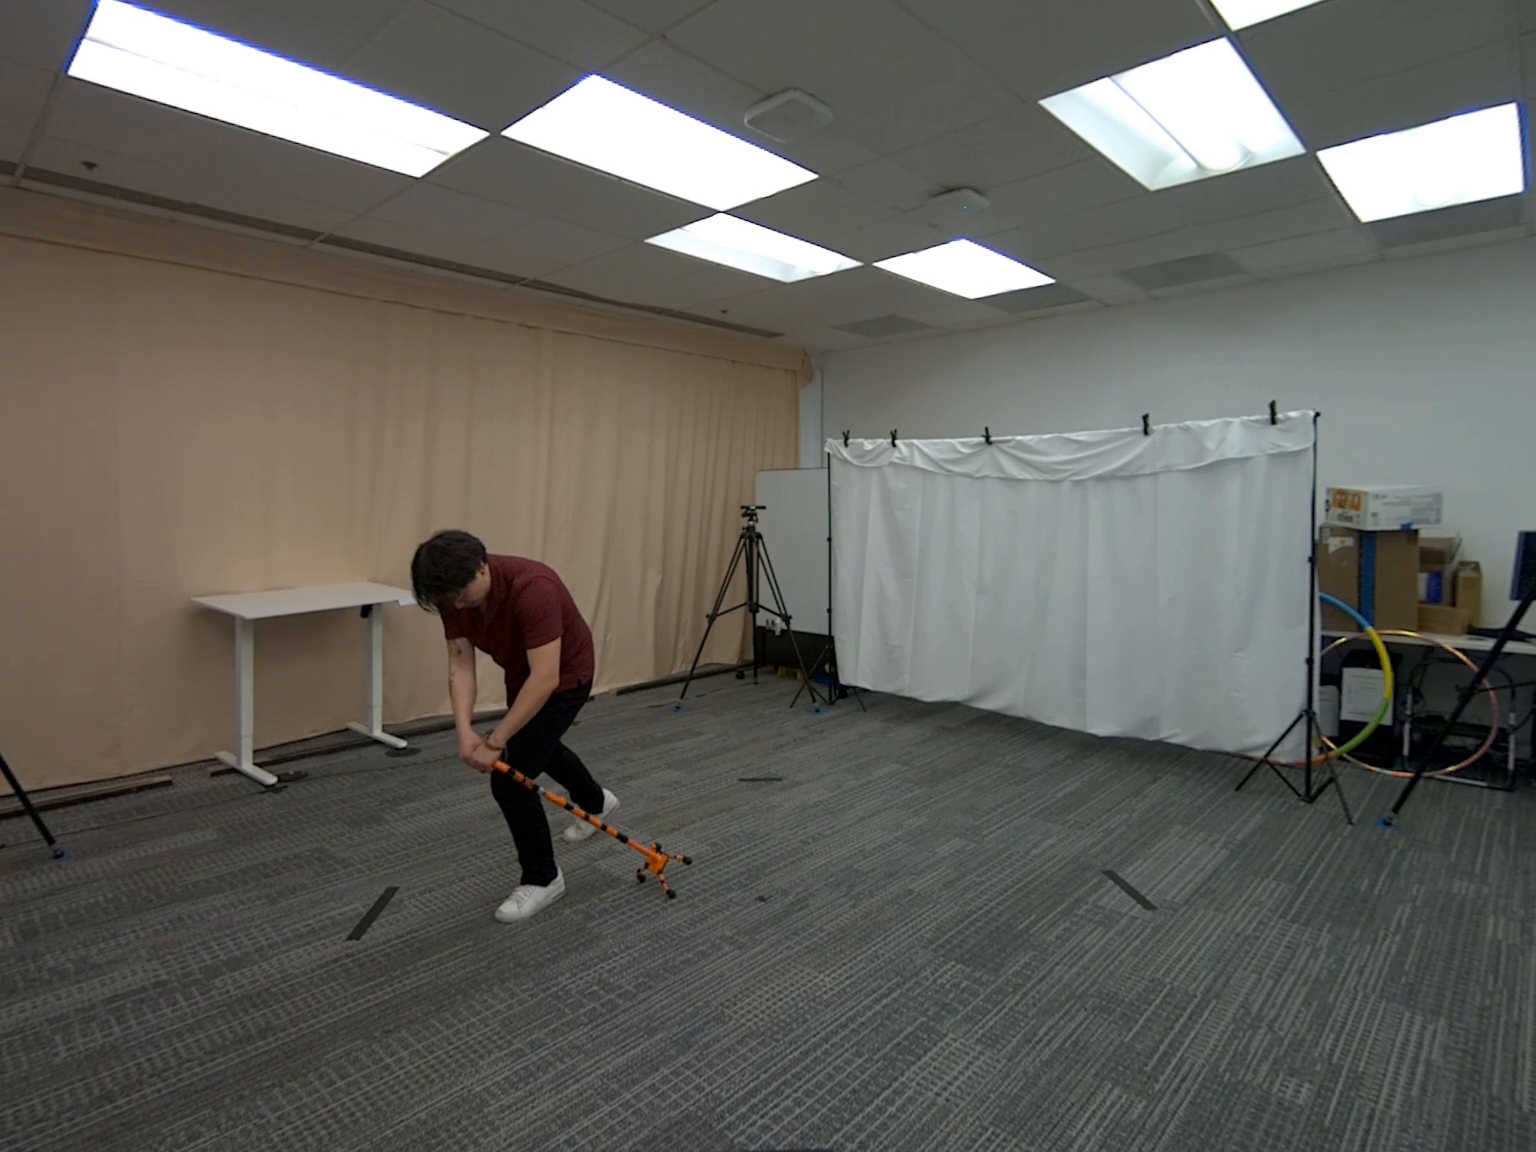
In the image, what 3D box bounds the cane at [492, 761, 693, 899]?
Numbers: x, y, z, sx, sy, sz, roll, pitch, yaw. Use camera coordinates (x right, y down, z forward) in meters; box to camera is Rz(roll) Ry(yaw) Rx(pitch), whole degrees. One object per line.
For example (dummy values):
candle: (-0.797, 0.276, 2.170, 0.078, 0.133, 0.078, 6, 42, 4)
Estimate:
cane: (-0.623, 0.823, 2.826, 0.213, 0.152, 0.877, 3, -32, 46)
